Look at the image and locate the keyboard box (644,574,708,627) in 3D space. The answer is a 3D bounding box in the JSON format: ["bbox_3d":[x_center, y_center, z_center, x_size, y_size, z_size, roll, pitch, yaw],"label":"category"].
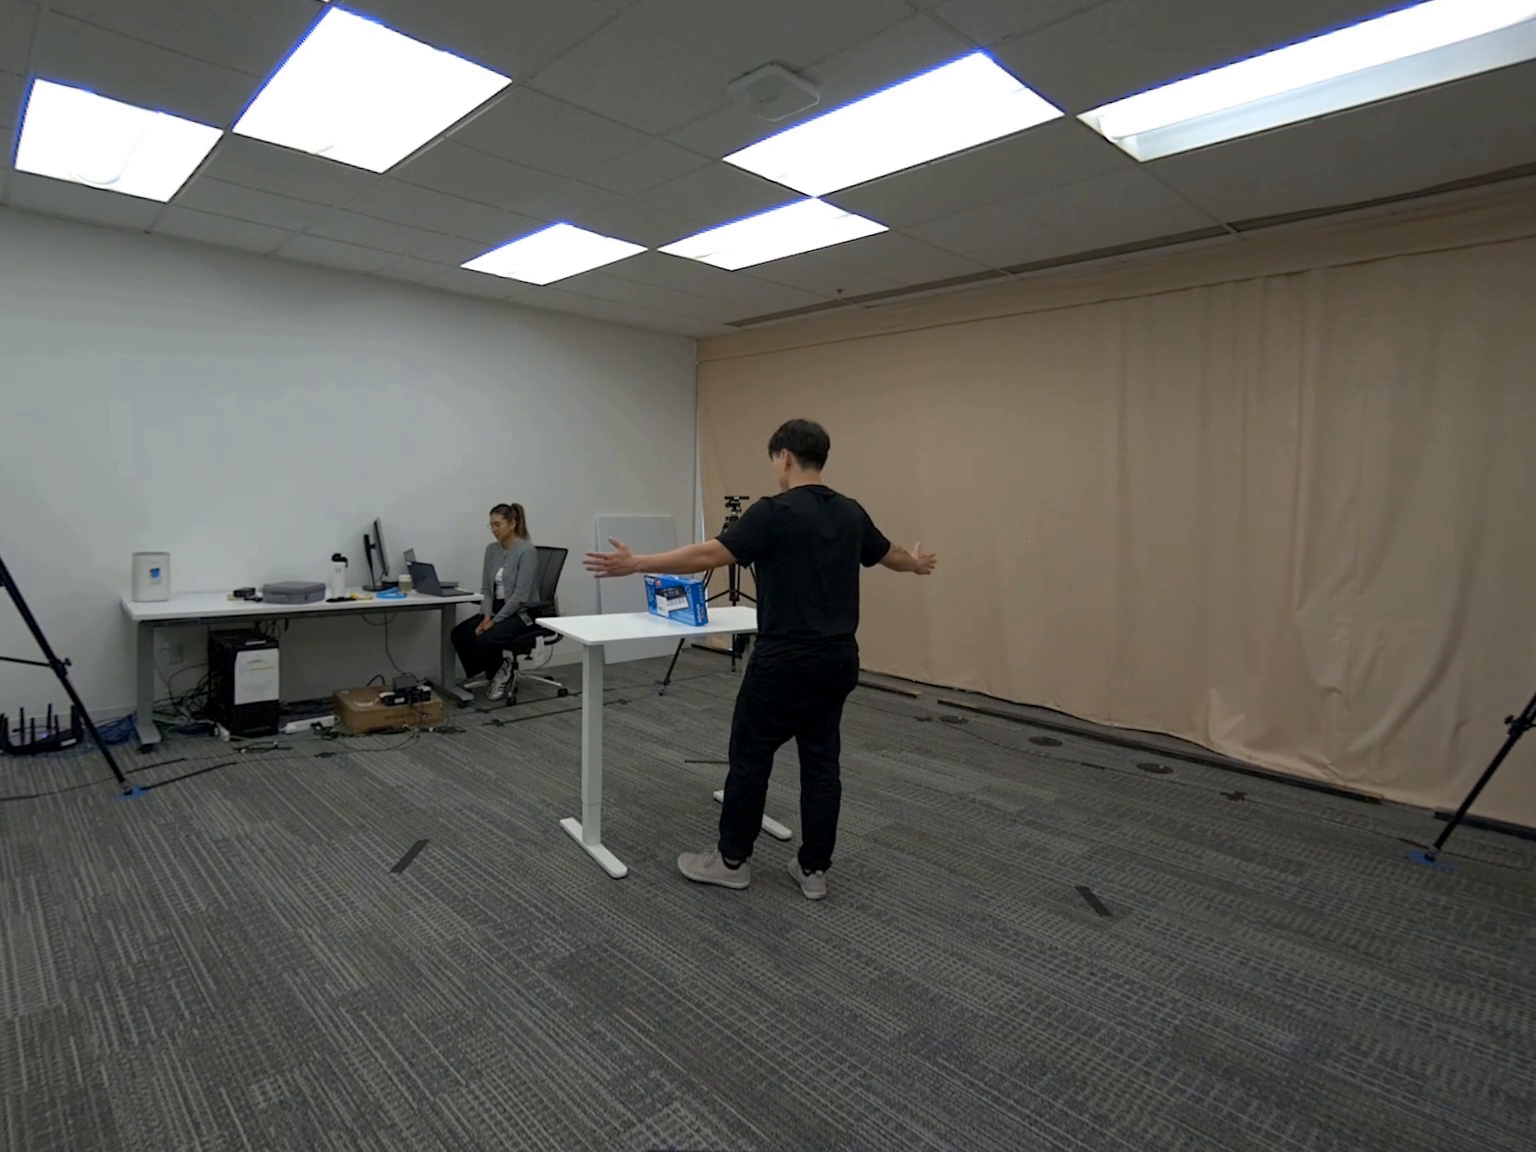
[{"bbox_3d":[-0.393,0.093,3.493,0.058,0.175,0.447,-9,9,-30],"label":"keyboard box"}]
